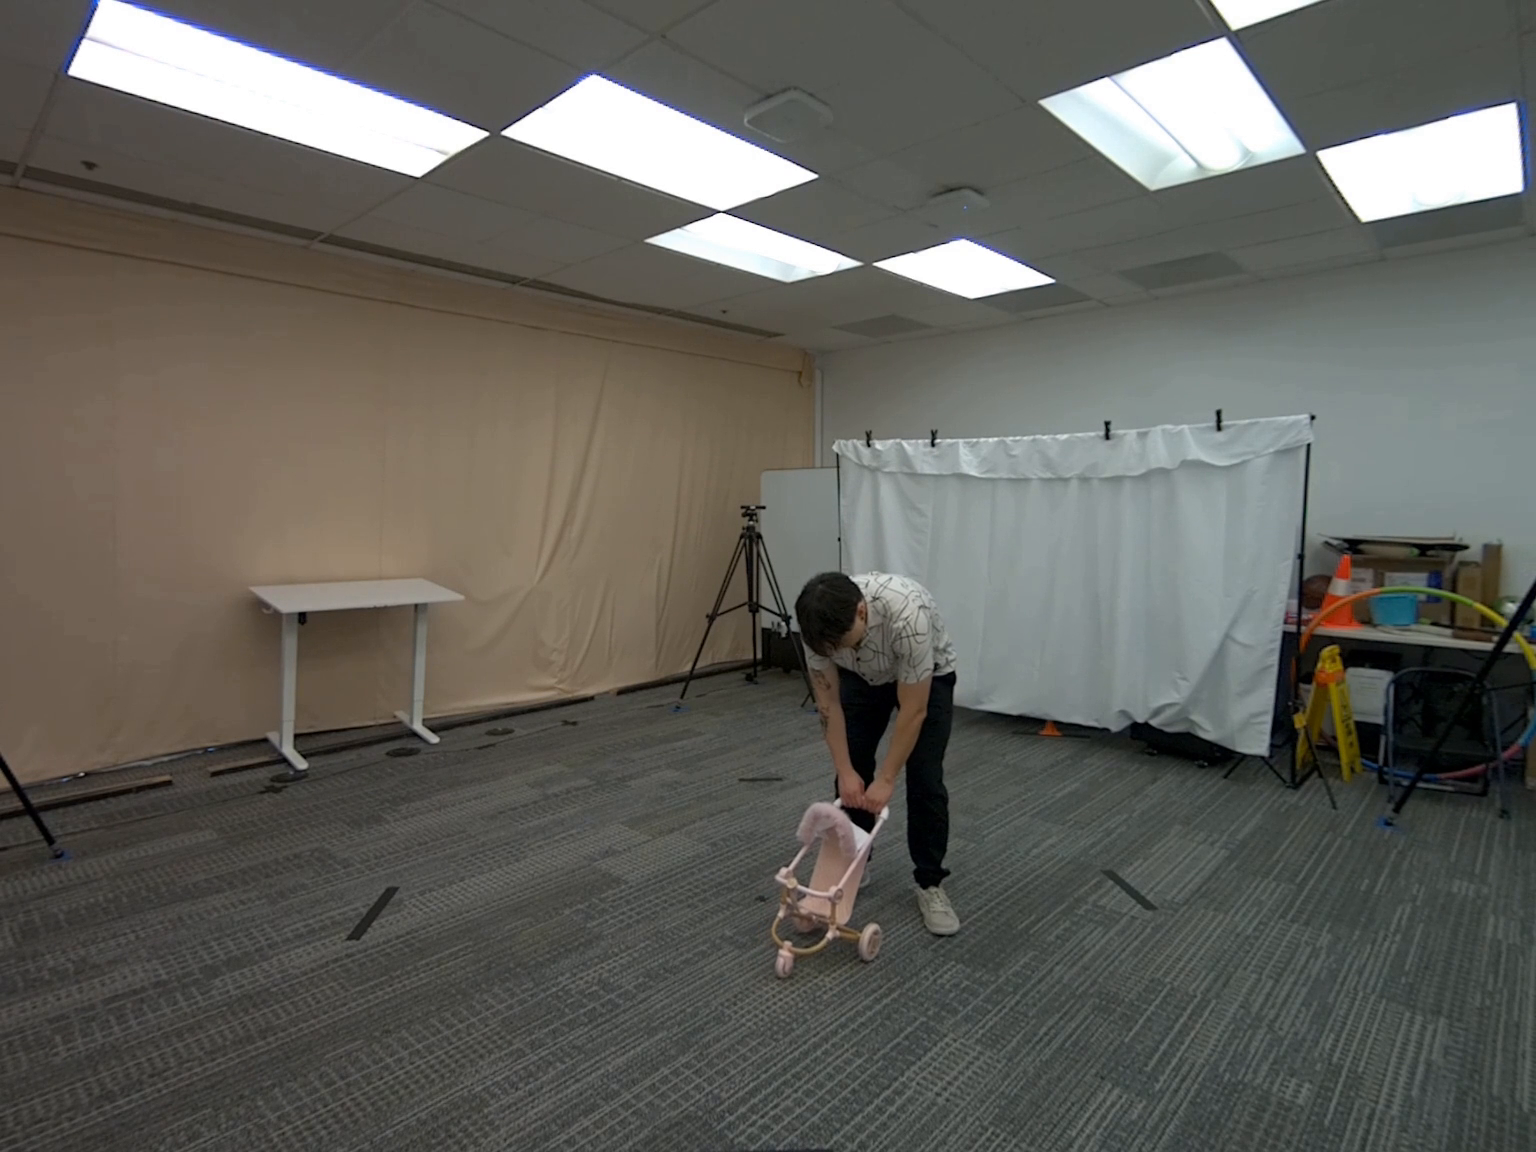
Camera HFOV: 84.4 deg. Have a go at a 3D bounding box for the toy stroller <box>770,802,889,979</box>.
[{"bbox_3d":[0.179,0.948,2.614,0.329,0.536,0.291,18,-10,-42],"label":"toy stroller"}]
